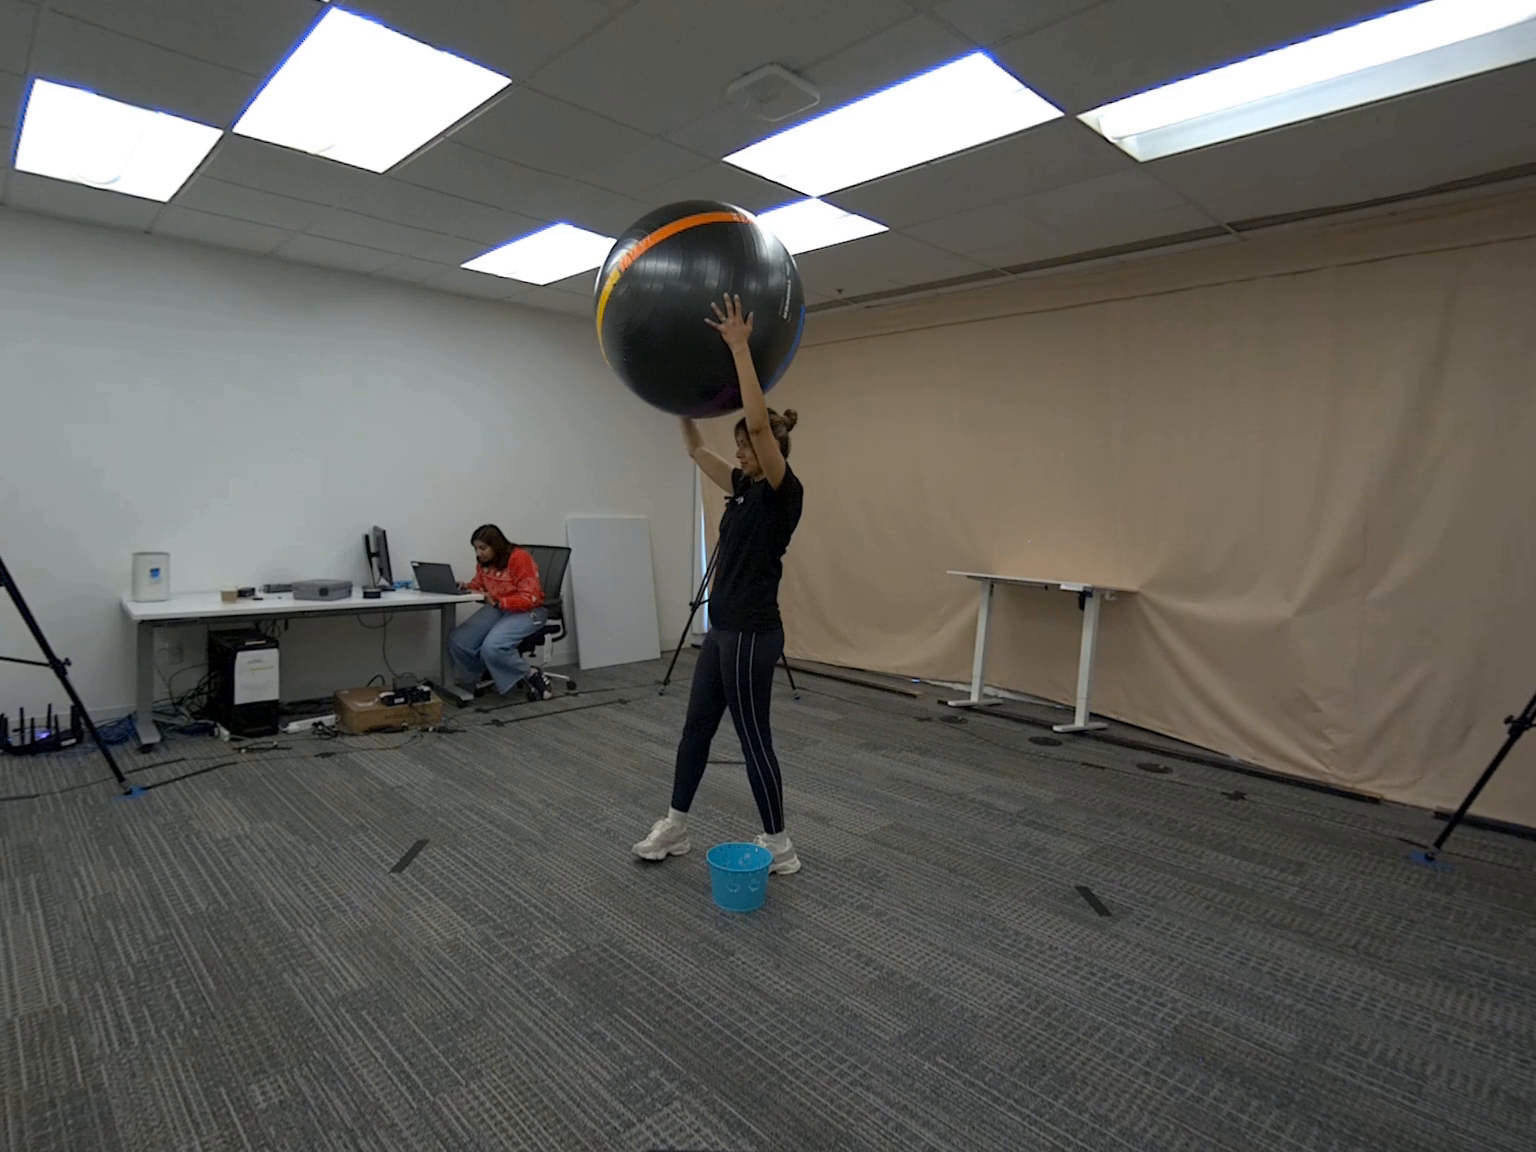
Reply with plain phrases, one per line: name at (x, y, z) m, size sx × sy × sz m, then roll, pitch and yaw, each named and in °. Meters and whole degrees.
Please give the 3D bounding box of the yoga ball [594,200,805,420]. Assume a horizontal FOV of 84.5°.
yoga ball at (-0.253, -0.949, 3.036) m, size 0.757 × 0.756 × 0.761 m, roll 1°, pitch 4°, yaw -1°
